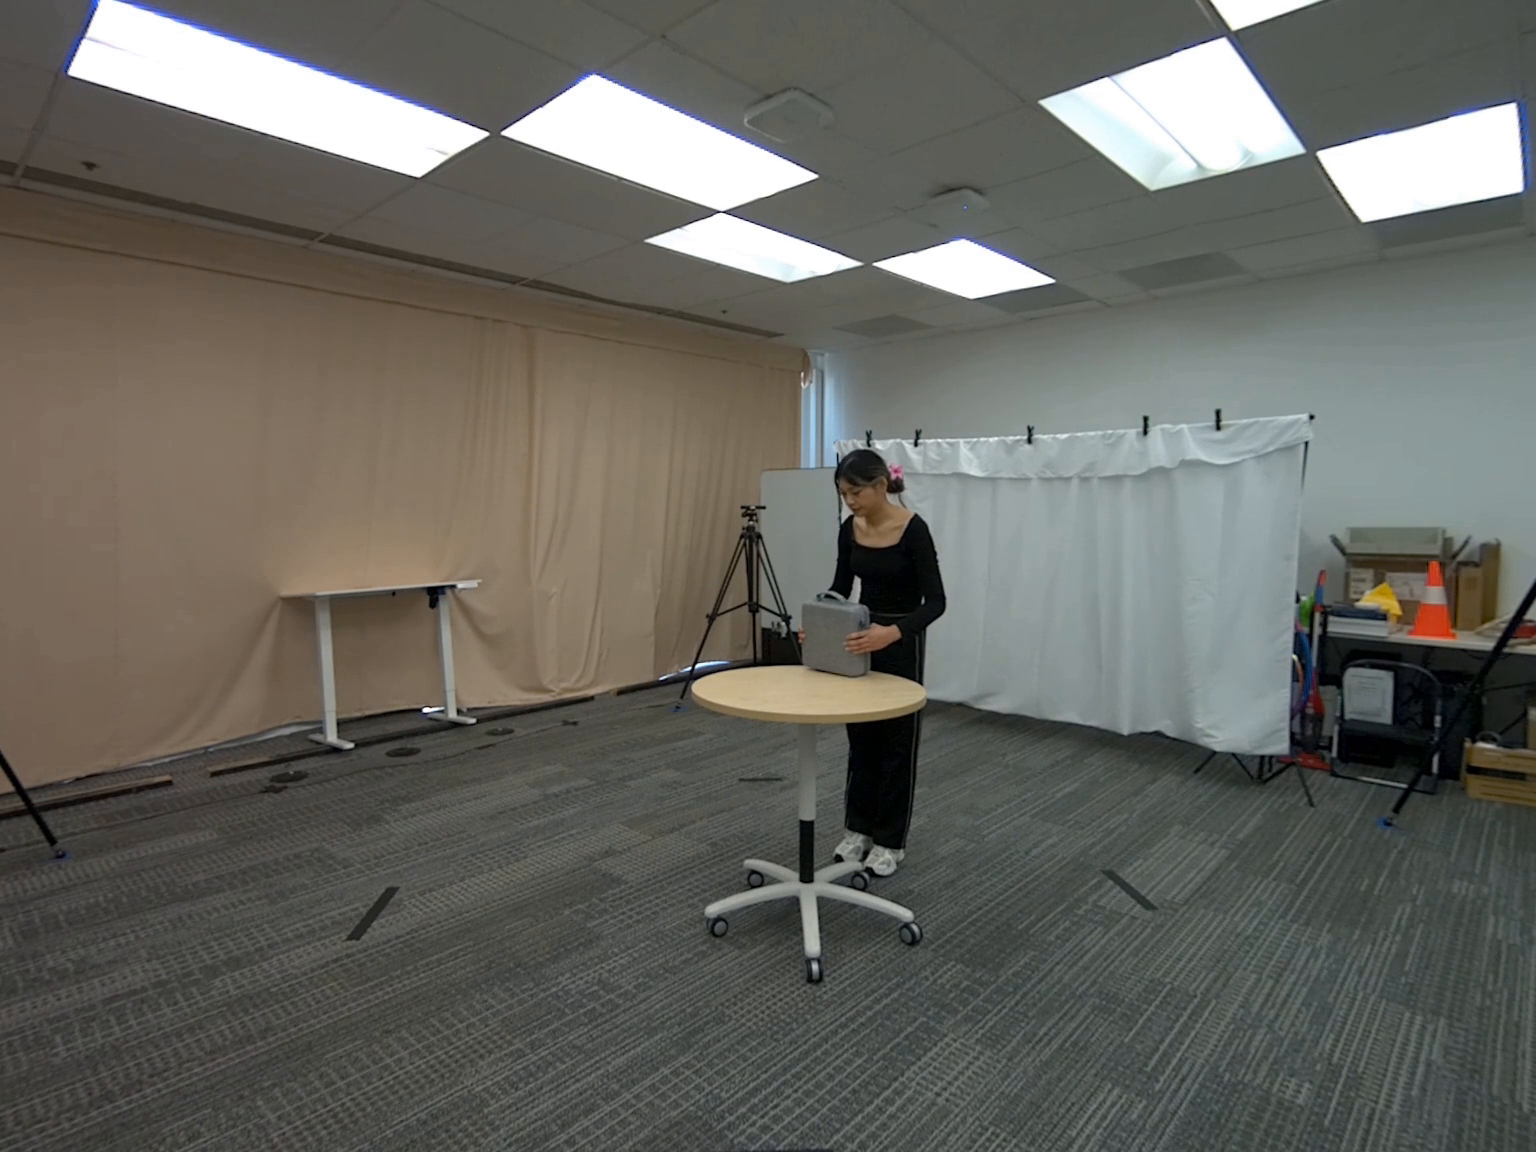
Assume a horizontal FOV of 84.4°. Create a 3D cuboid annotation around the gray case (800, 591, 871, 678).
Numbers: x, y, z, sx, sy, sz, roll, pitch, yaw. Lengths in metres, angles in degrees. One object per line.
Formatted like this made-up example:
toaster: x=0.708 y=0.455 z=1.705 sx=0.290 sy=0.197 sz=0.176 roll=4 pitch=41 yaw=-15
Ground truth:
gray case: x=0.240 y=0.217 z=3.020 sx=0.101 sy=0.259 sz=0.266 roll=-10 pitch=11 yaw=-41
